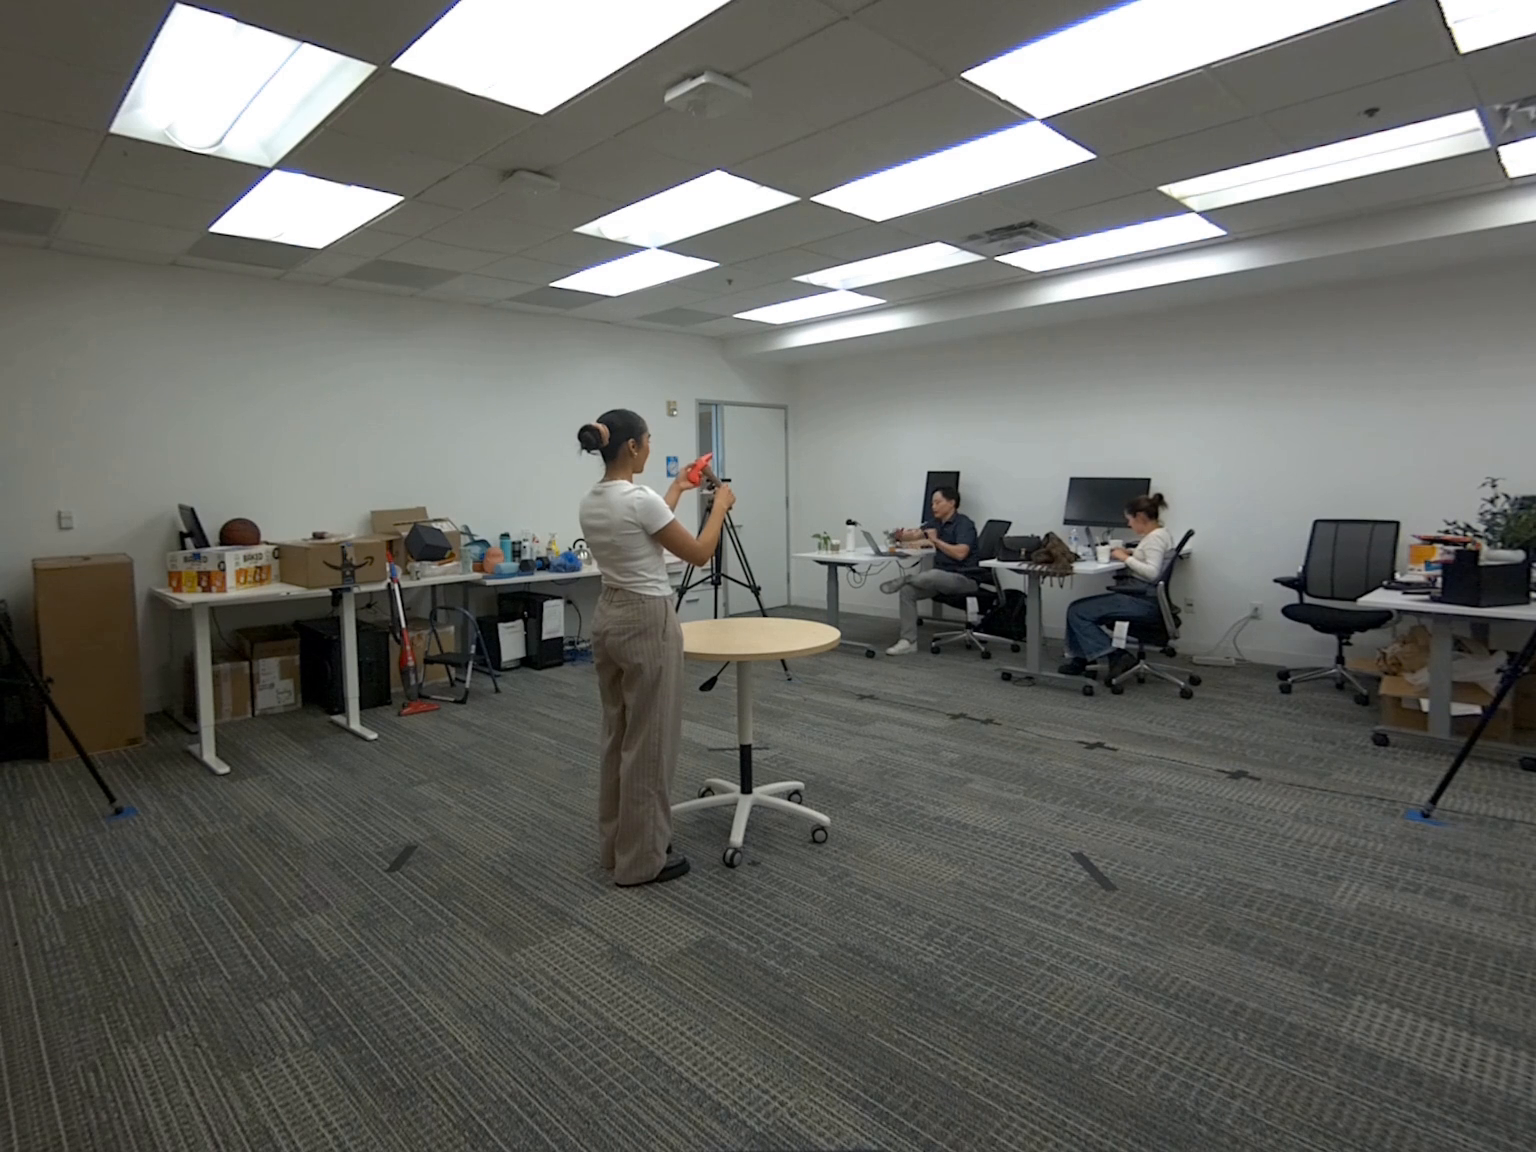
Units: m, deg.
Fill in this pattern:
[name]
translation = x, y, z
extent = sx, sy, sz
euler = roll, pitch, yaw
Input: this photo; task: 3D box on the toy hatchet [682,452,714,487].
[toy hatchet]
translation = -0.231, -0.343, 3.245
extent = 0.132, 0.278, 0.028
euler = -27, -32, 18
